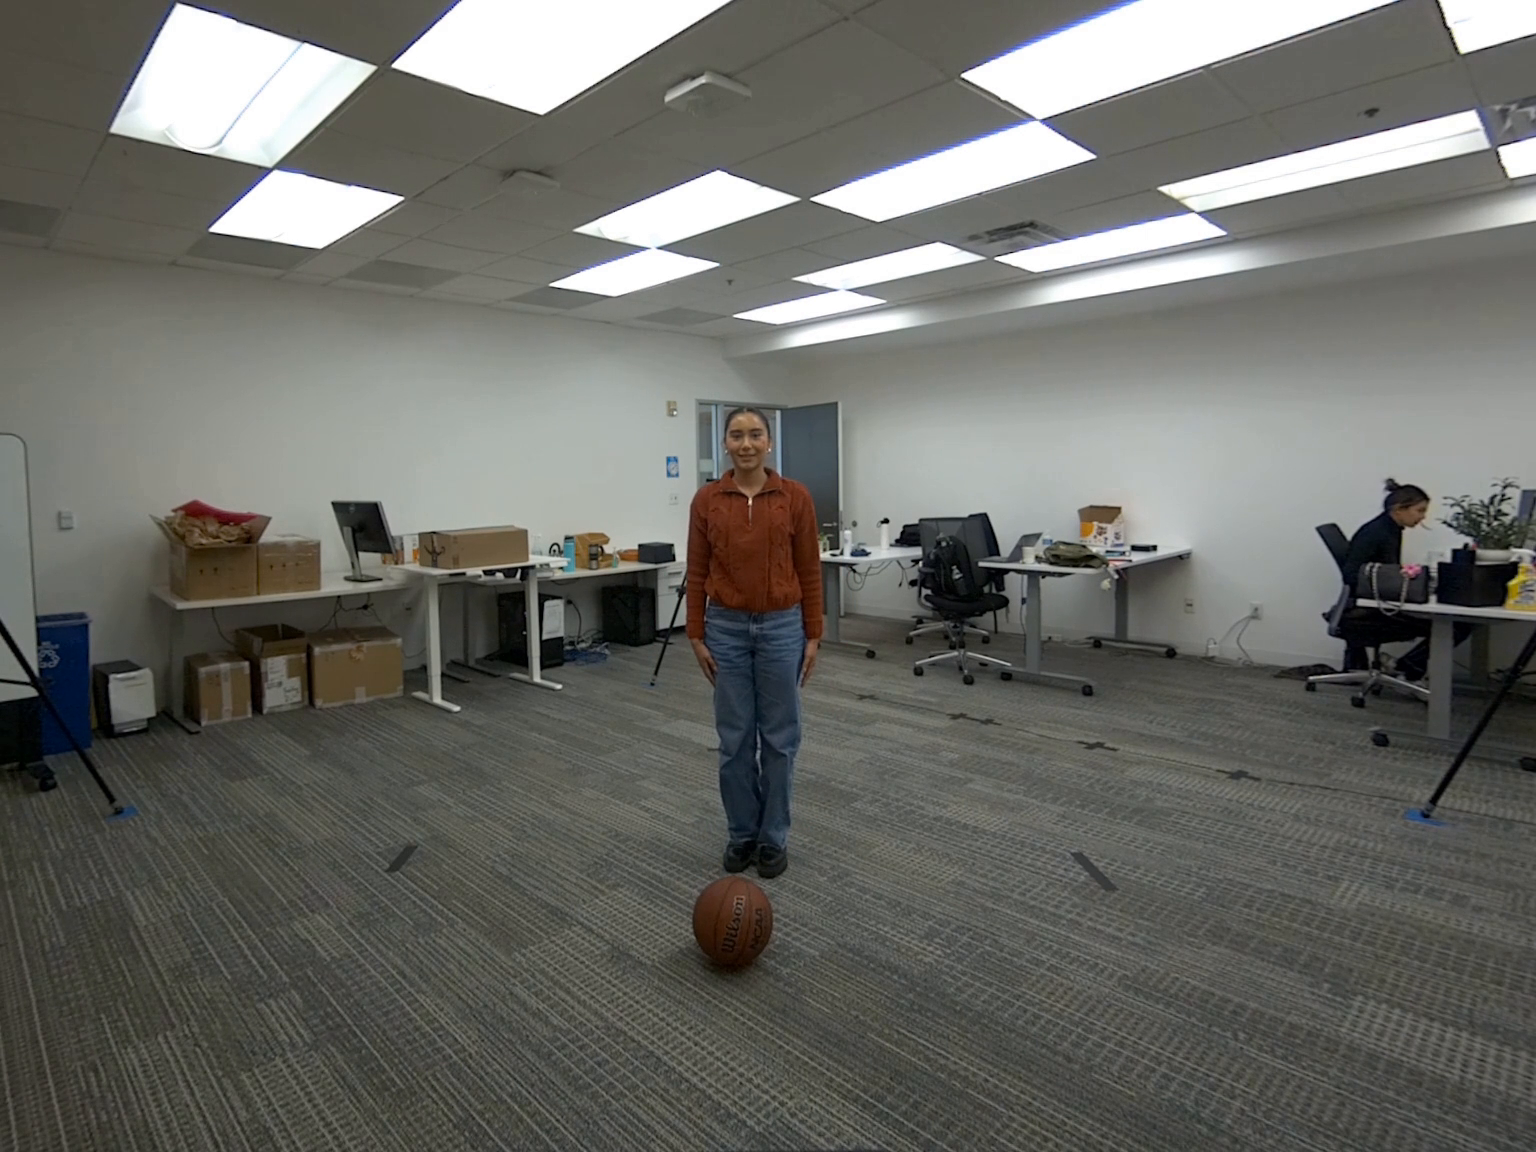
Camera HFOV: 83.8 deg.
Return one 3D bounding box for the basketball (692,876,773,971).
[{"bbox_3d":[-0.102,1.001,2.484,0.236,0.235,0.237,-1,5,-2],"label":"basketball"}]
